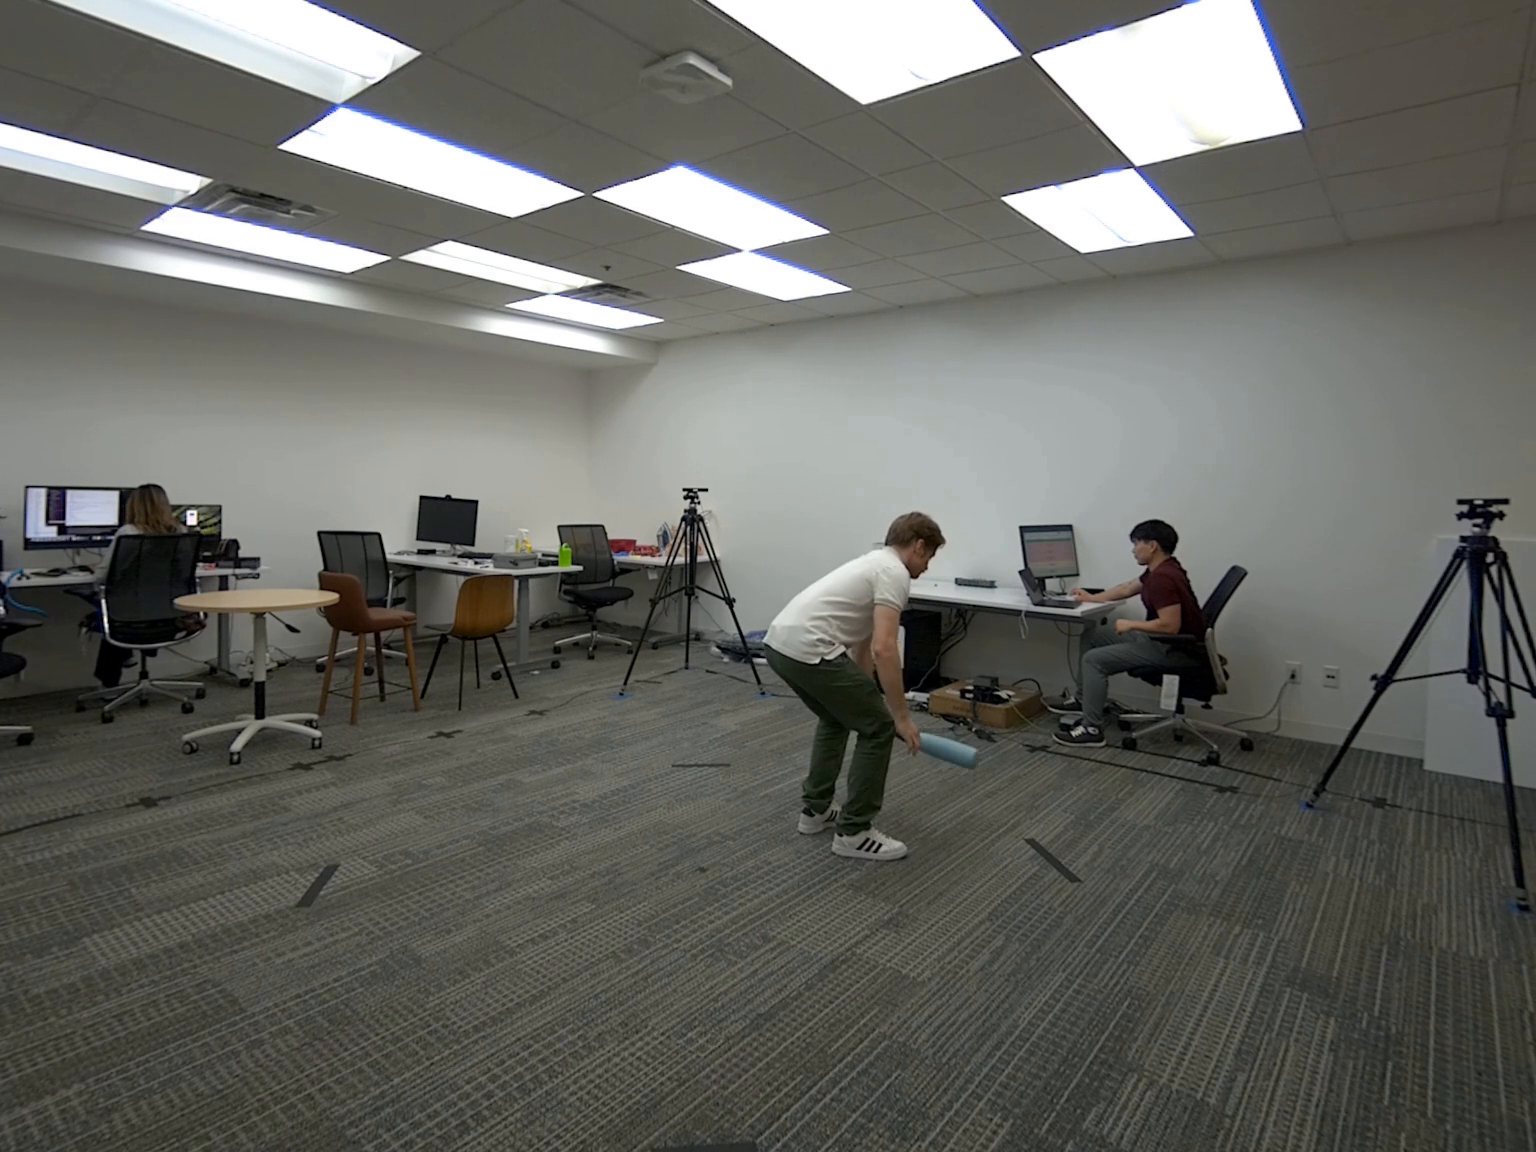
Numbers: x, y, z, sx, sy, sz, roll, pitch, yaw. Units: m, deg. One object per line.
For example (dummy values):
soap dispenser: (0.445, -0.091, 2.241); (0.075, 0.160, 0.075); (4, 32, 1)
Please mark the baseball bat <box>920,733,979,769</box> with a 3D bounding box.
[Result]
baseball bat: (0.612, 0.677, 3.562); (0.562, 0.088, 0.086); (13, 10, 33)
